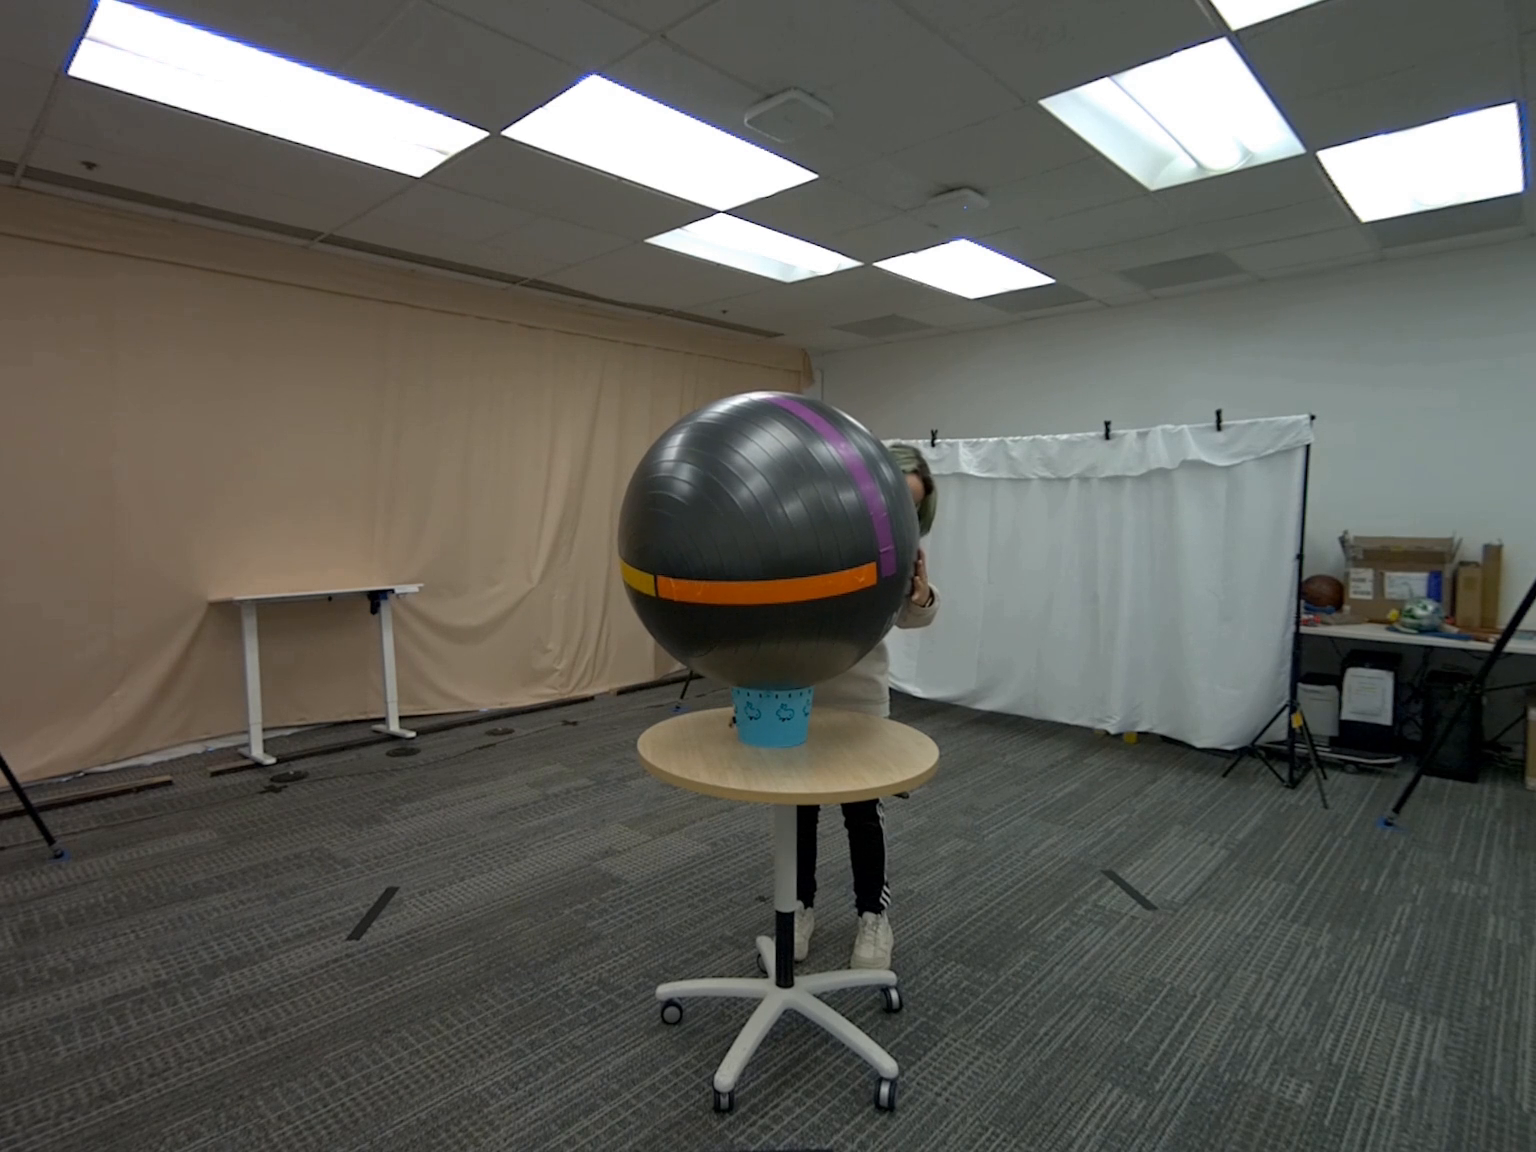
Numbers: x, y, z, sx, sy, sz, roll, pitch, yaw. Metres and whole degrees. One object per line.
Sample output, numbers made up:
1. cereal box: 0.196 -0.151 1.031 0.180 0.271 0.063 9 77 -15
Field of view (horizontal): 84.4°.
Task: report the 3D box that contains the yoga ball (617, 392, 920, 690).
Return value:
1. yoga ball: -0.006 -0.082 2.144 0.757 0.756 0.760 0 4 -2
